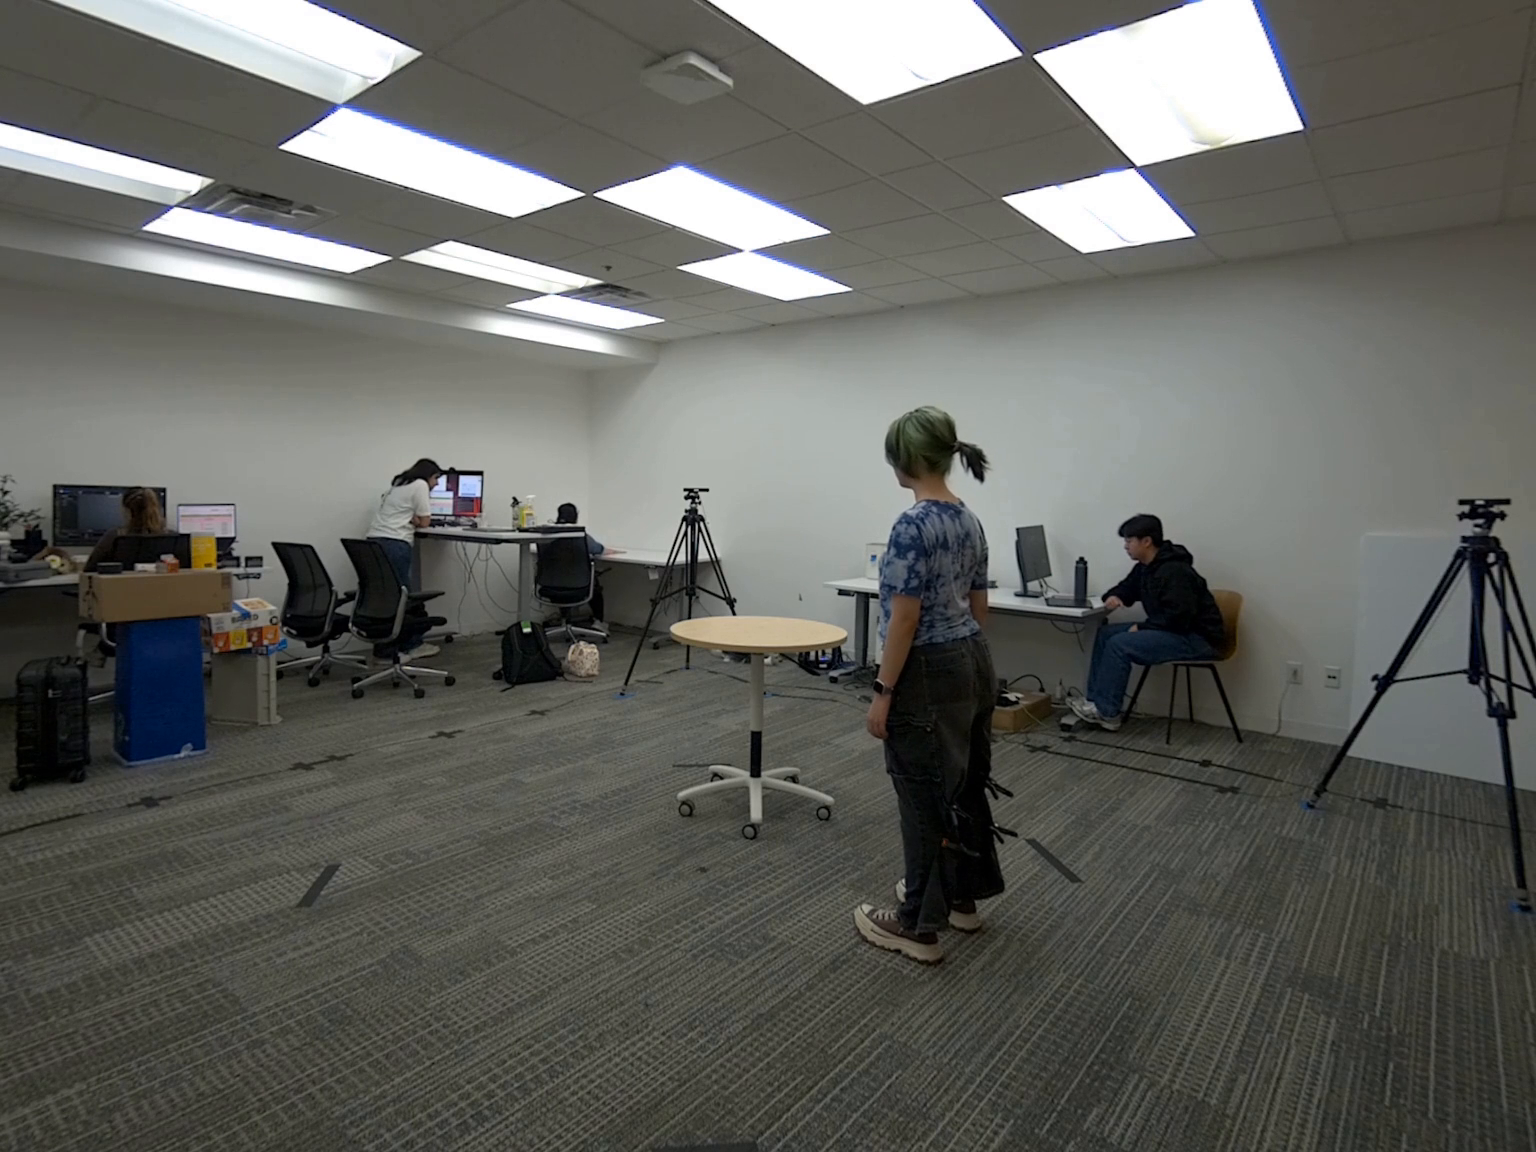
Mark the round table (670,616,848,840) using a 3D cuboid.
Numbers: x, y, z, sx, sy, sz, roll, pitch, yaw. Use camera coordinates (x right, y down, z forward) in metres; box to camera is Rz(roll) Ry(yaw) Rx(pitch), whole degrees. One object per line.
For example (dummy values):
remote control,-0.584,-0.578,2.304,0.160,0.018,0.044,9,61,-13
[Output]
round table,-0.066,0.626,3.706,0.763,0.792,0.767,1,4,-2
